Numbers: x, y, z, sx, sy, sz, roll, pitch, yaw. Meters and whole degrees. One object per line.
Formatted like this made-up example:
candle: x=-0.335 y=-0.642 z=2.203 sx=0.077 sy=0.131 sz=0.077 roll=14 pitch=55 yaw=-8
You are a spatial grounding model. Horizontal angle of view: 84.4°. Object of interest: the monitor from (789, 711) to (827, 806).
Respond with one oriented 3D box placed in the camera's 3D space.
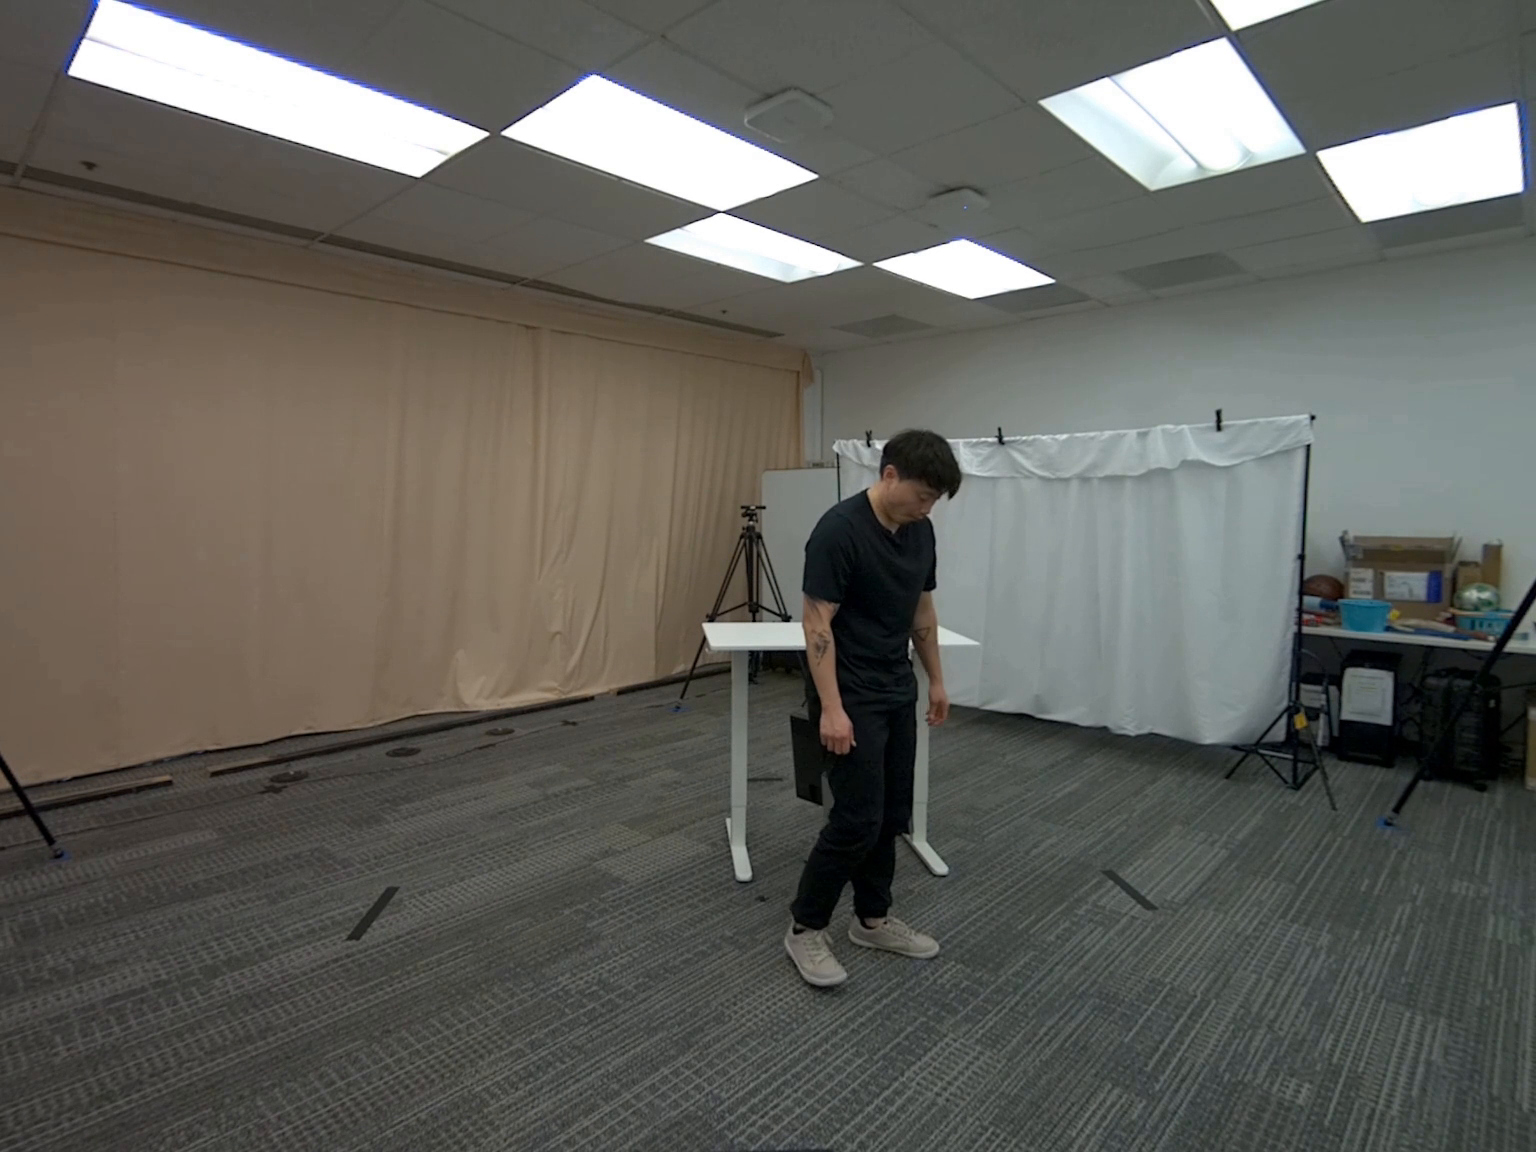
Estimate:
monitor: x=0.294 y=0.856 z=3.256 sx=0.557 sy=0.522 sz=0.181 roll=6 pitch=2 yaw=43
